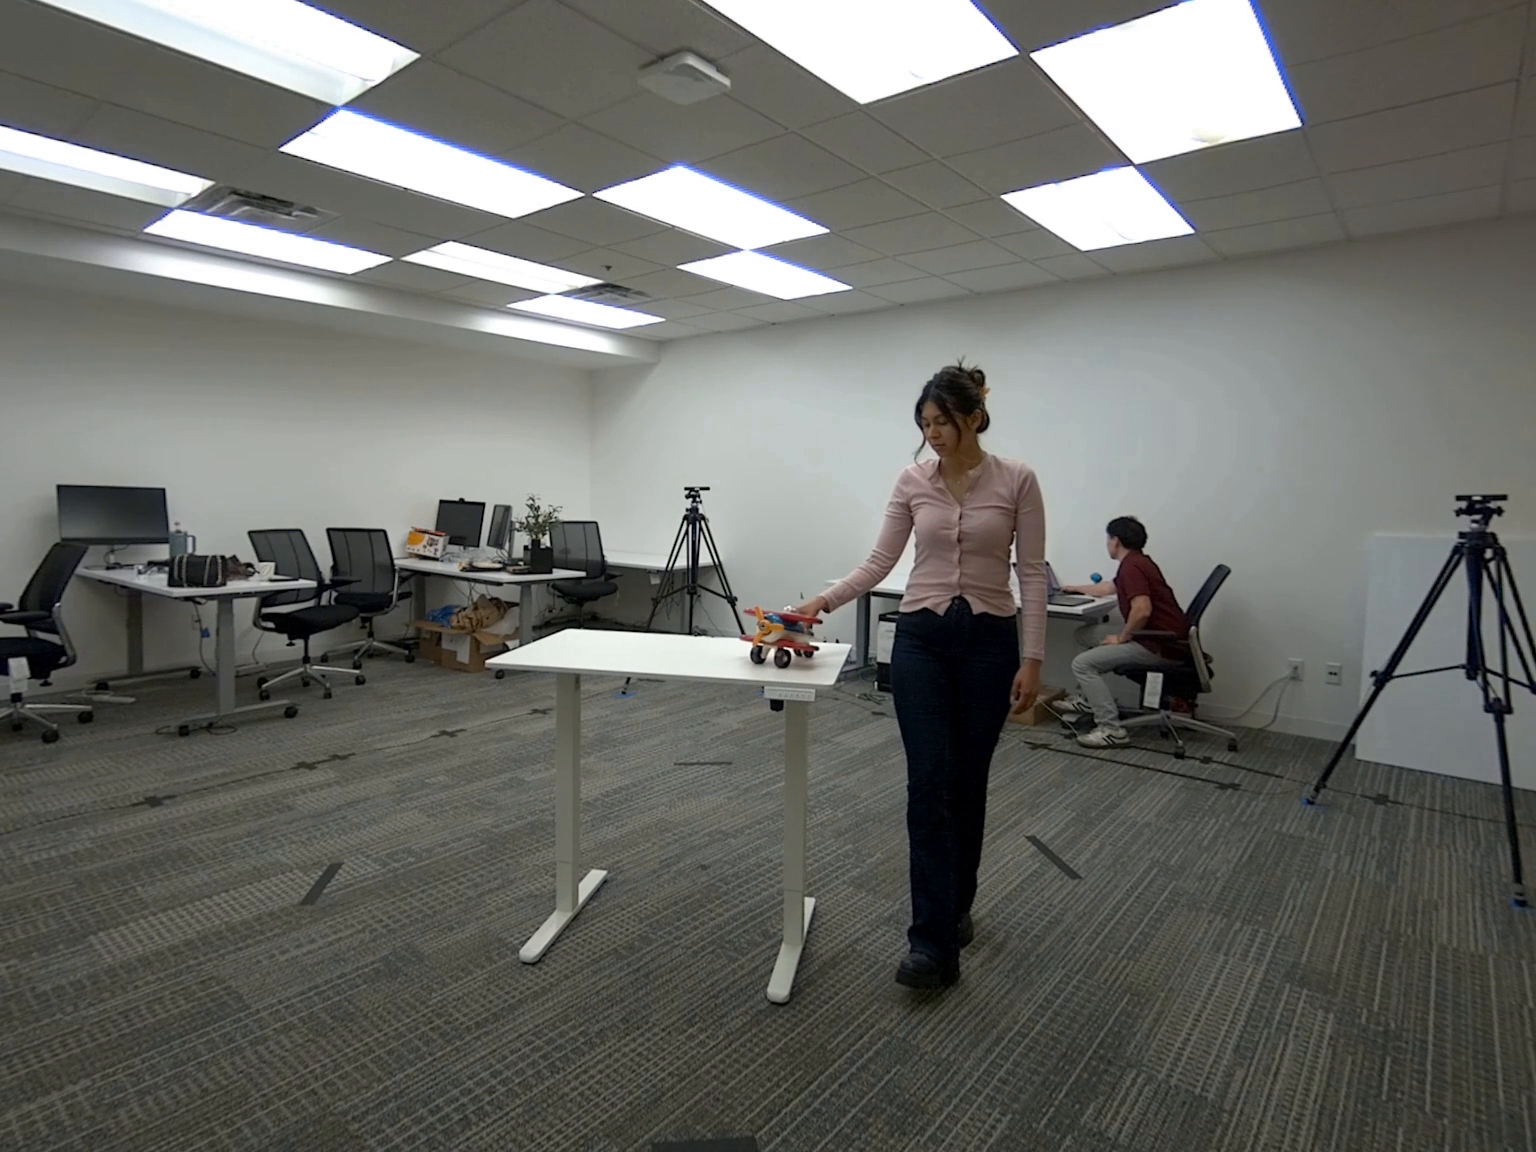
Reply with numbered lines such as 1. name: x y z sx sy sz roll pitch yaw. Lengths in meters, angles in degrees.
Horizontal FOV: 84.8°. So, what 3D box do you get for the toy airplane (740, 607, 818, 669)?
1. toy airplane: 0.033 0.172 2.511 0.254 0.156 0.257 2 6 9
